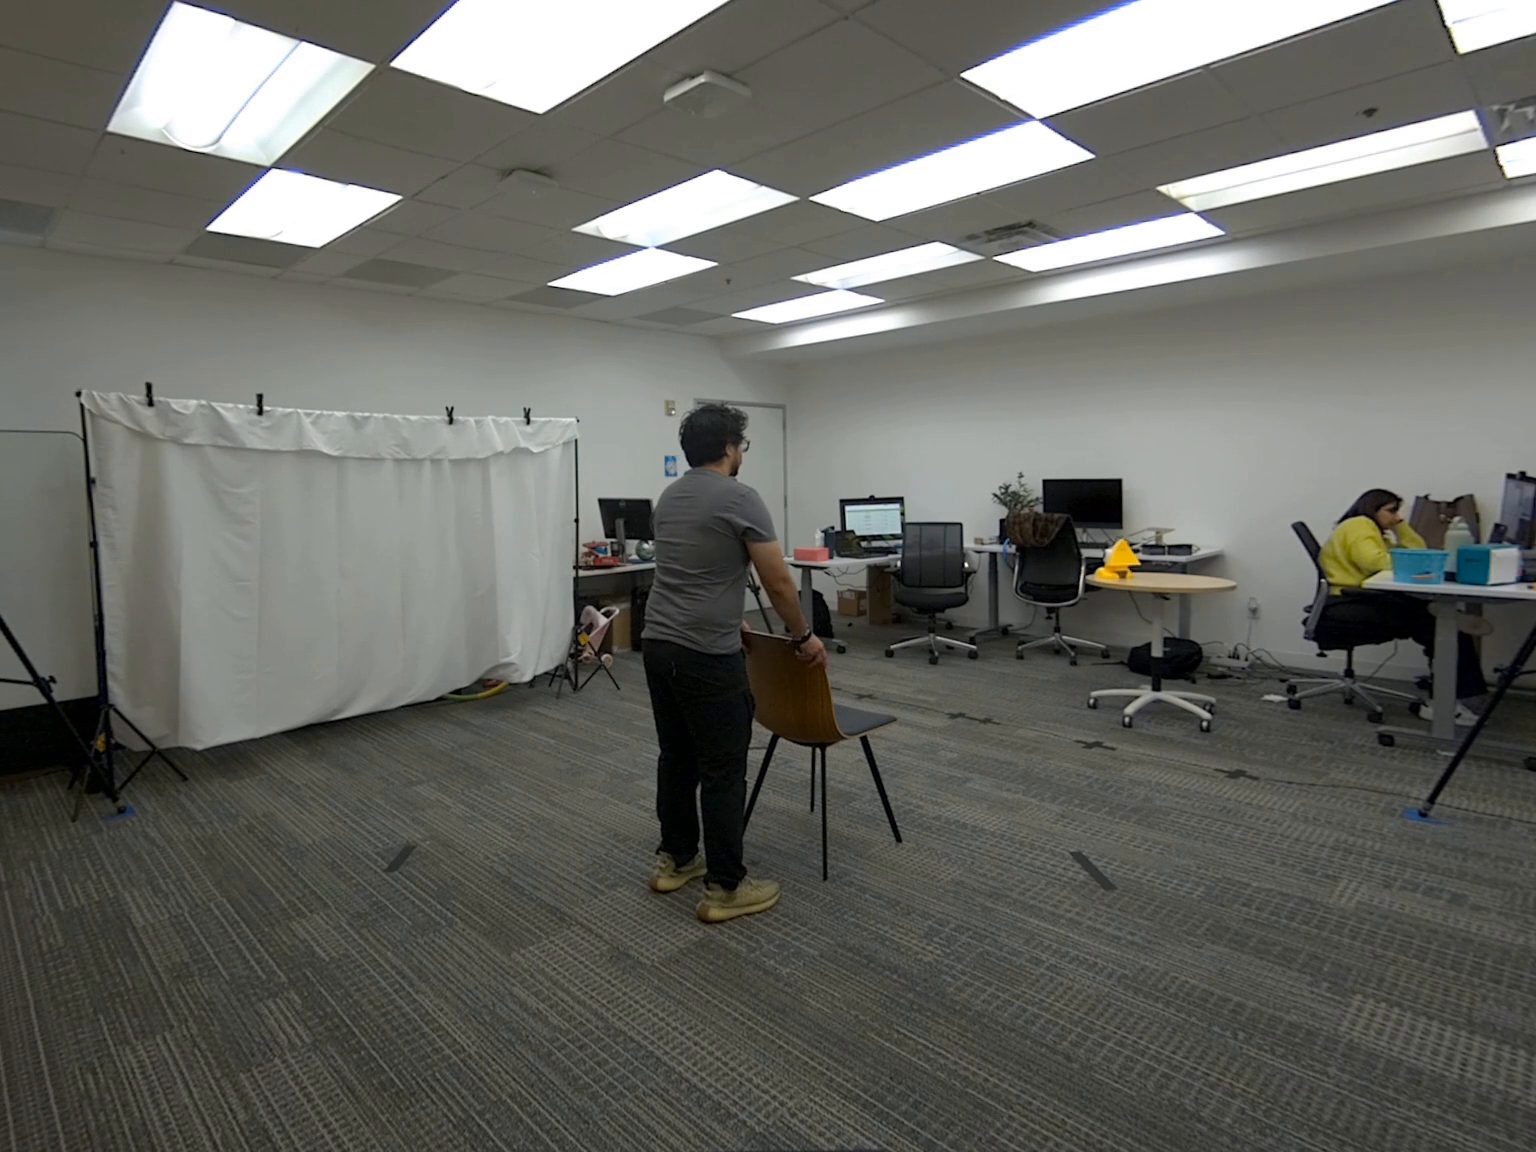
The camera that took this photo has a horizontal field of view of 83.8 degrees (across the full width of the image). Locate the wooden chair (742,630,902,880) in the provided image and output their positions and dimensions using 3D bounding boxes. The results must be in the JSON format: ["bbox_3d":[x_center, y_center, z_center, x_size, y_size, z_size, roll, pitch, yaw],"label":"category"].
[{"bbox_3d":[0.194,0.593,3.245,0.511,0.871,0.493,-11,10,-44],"label":"wooden chair"}]
